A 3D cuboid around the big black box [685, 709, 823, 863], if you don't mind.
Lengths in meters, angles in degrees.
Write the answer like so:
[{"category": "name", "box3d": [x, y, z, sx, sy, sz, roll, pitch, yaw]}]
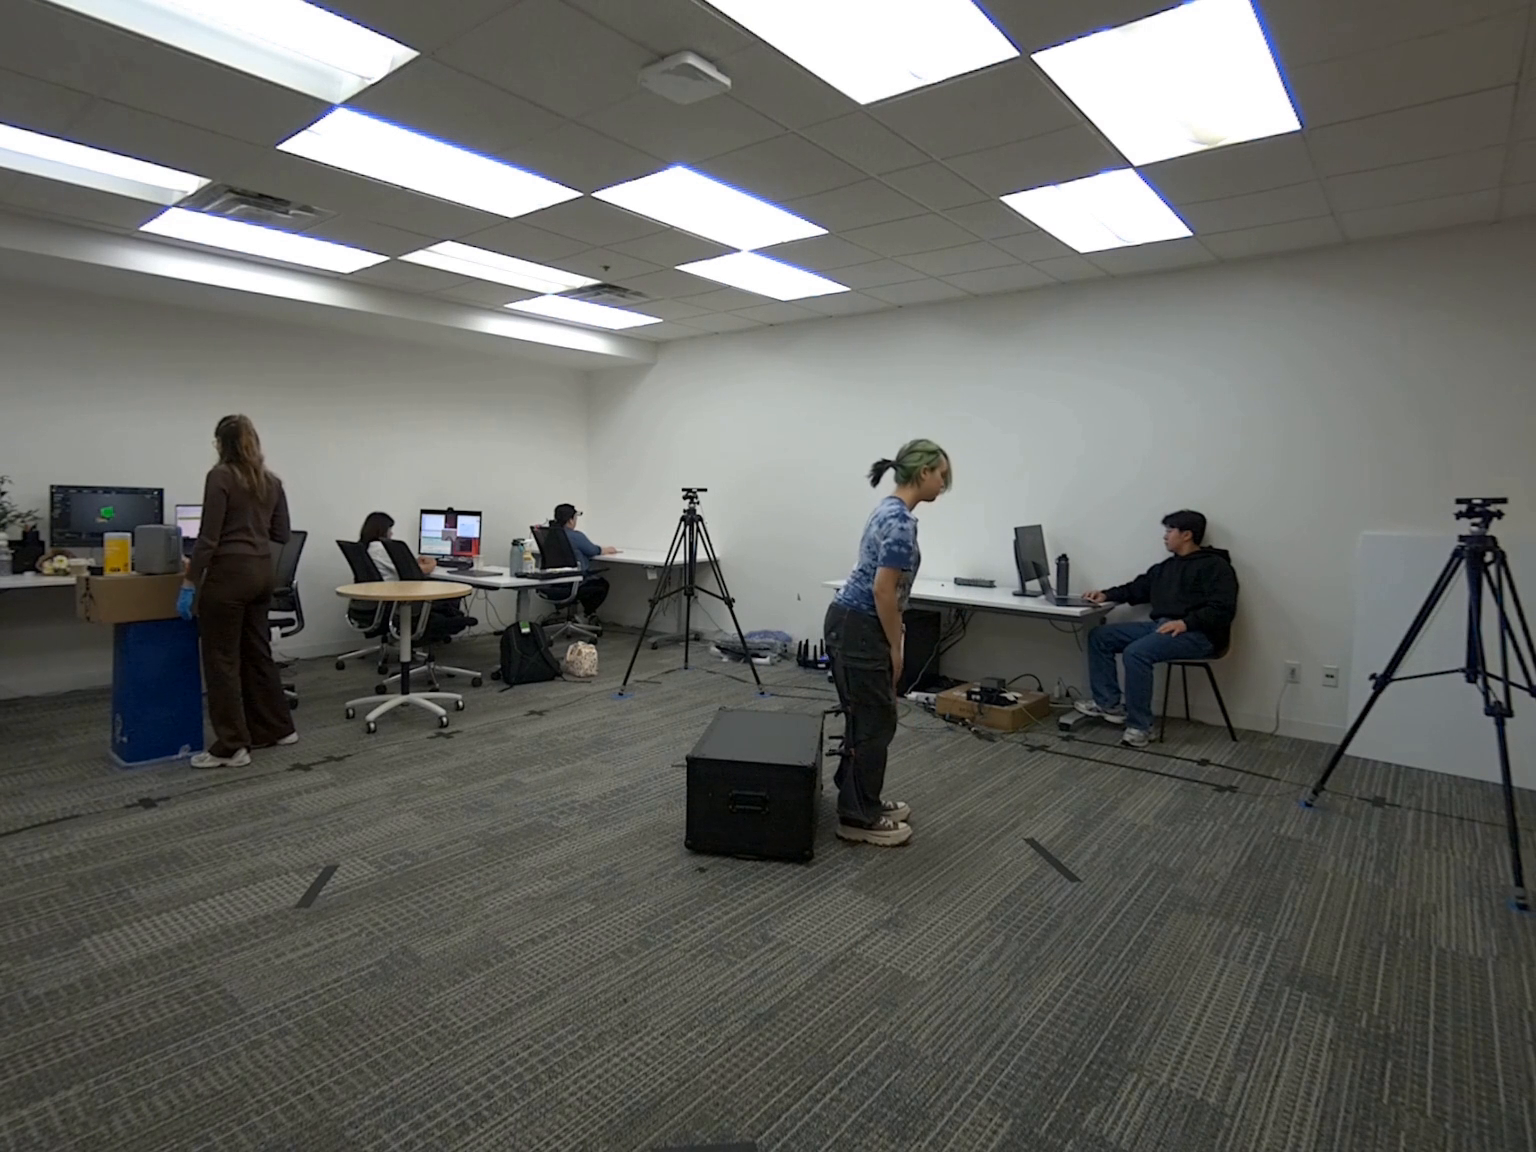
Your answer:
[{"category": "big black box", "box3d": [-0.033, 0.832, 3.584, 0.526, 0.394, 0.857, 1, 6, 7]}]
